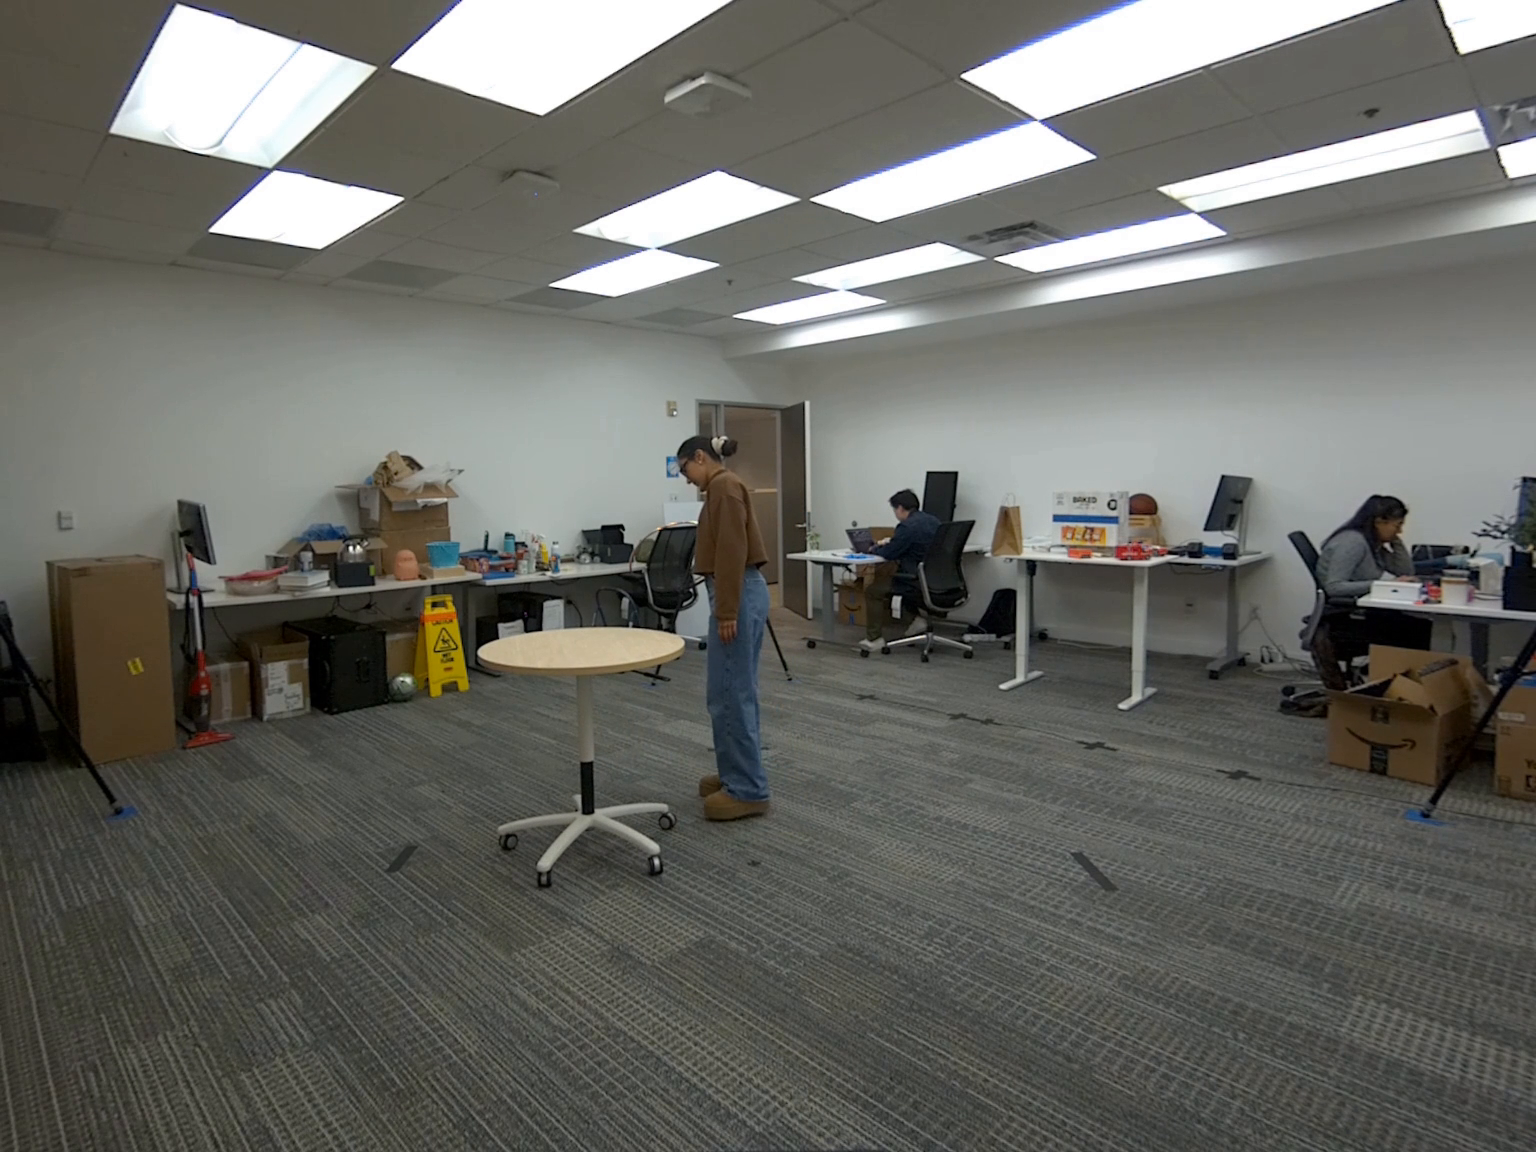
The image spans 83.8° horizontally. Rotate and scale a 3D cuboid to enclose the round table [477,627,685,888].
[{"bbox_3d":[-0.677,0.652,3.233,0.763,0.791,0.768,-1,5,-2],"label":"round table"}]
